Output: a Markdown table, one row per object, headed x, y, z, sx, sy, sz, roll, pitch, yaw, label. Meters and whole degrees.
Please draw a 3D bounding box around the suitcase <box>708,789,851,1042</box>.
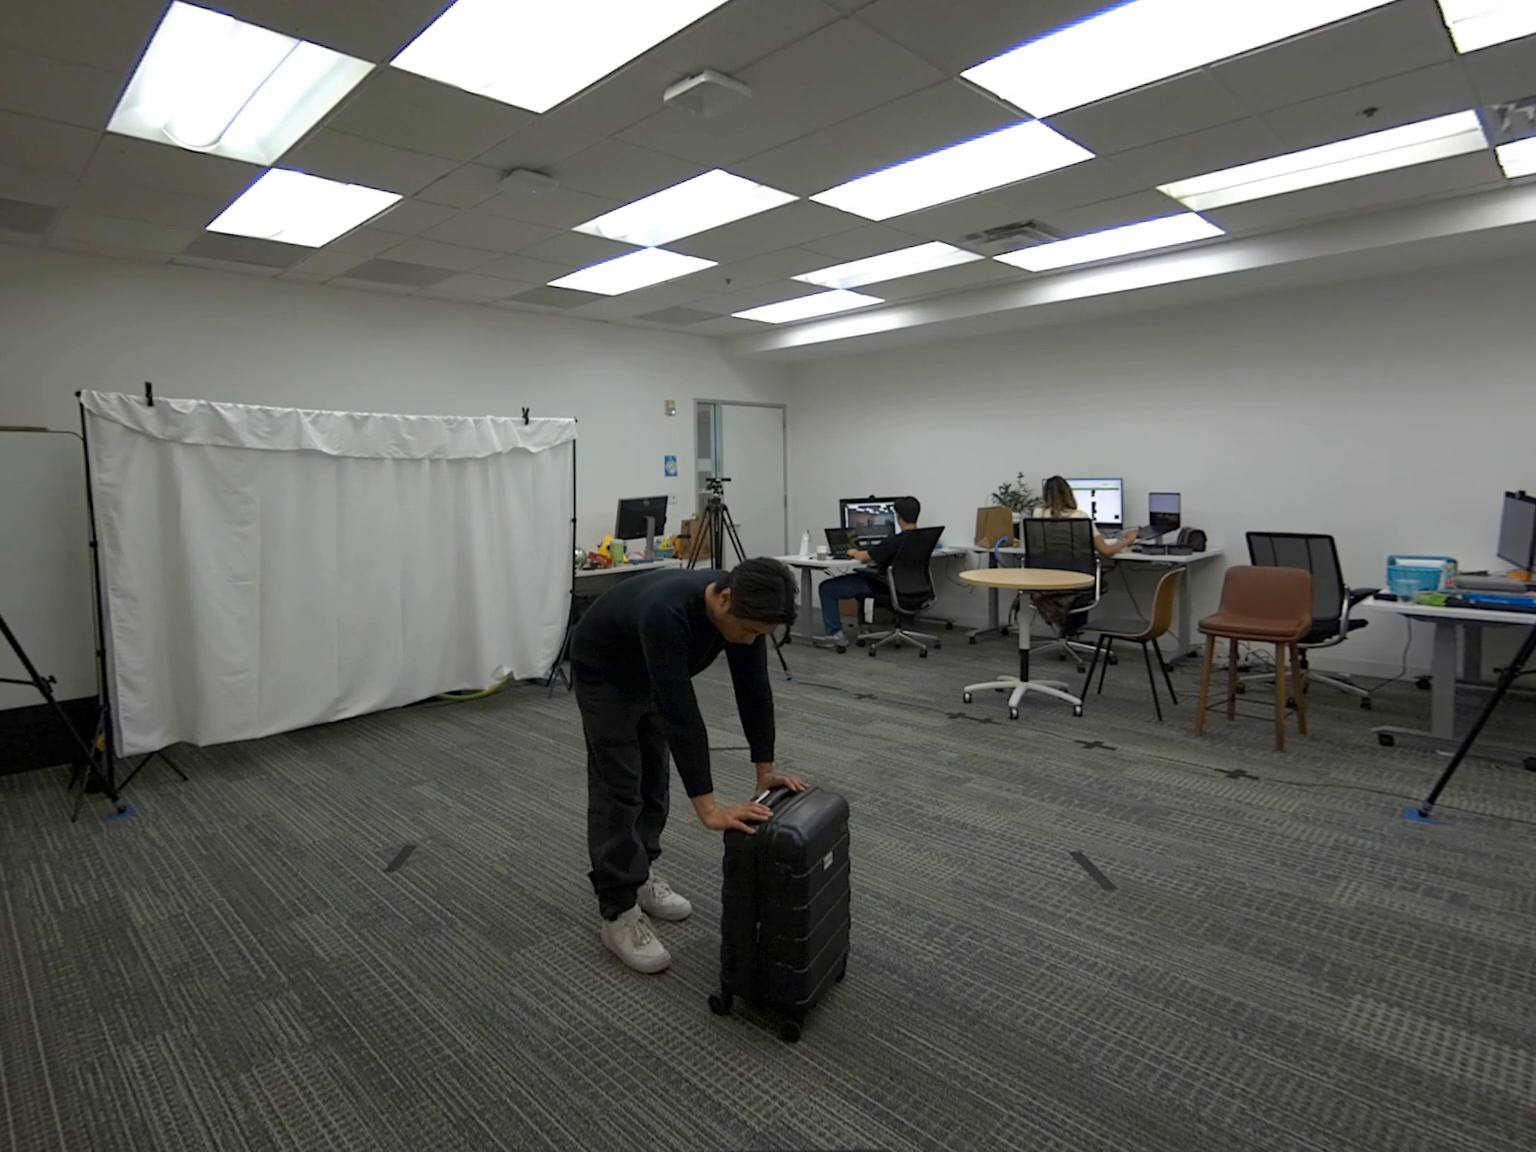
| x | y | z | sx | sy | sz | roll | pitch | yaw | label |
| --- | --- | --- | --- | --- | --- | --- | --- | --- | --- |
| 0.055 | 0.860 | 2.290 | 0.255 | 0.547 | 0.367 | 1 | 5 | 28 | suitcase |
